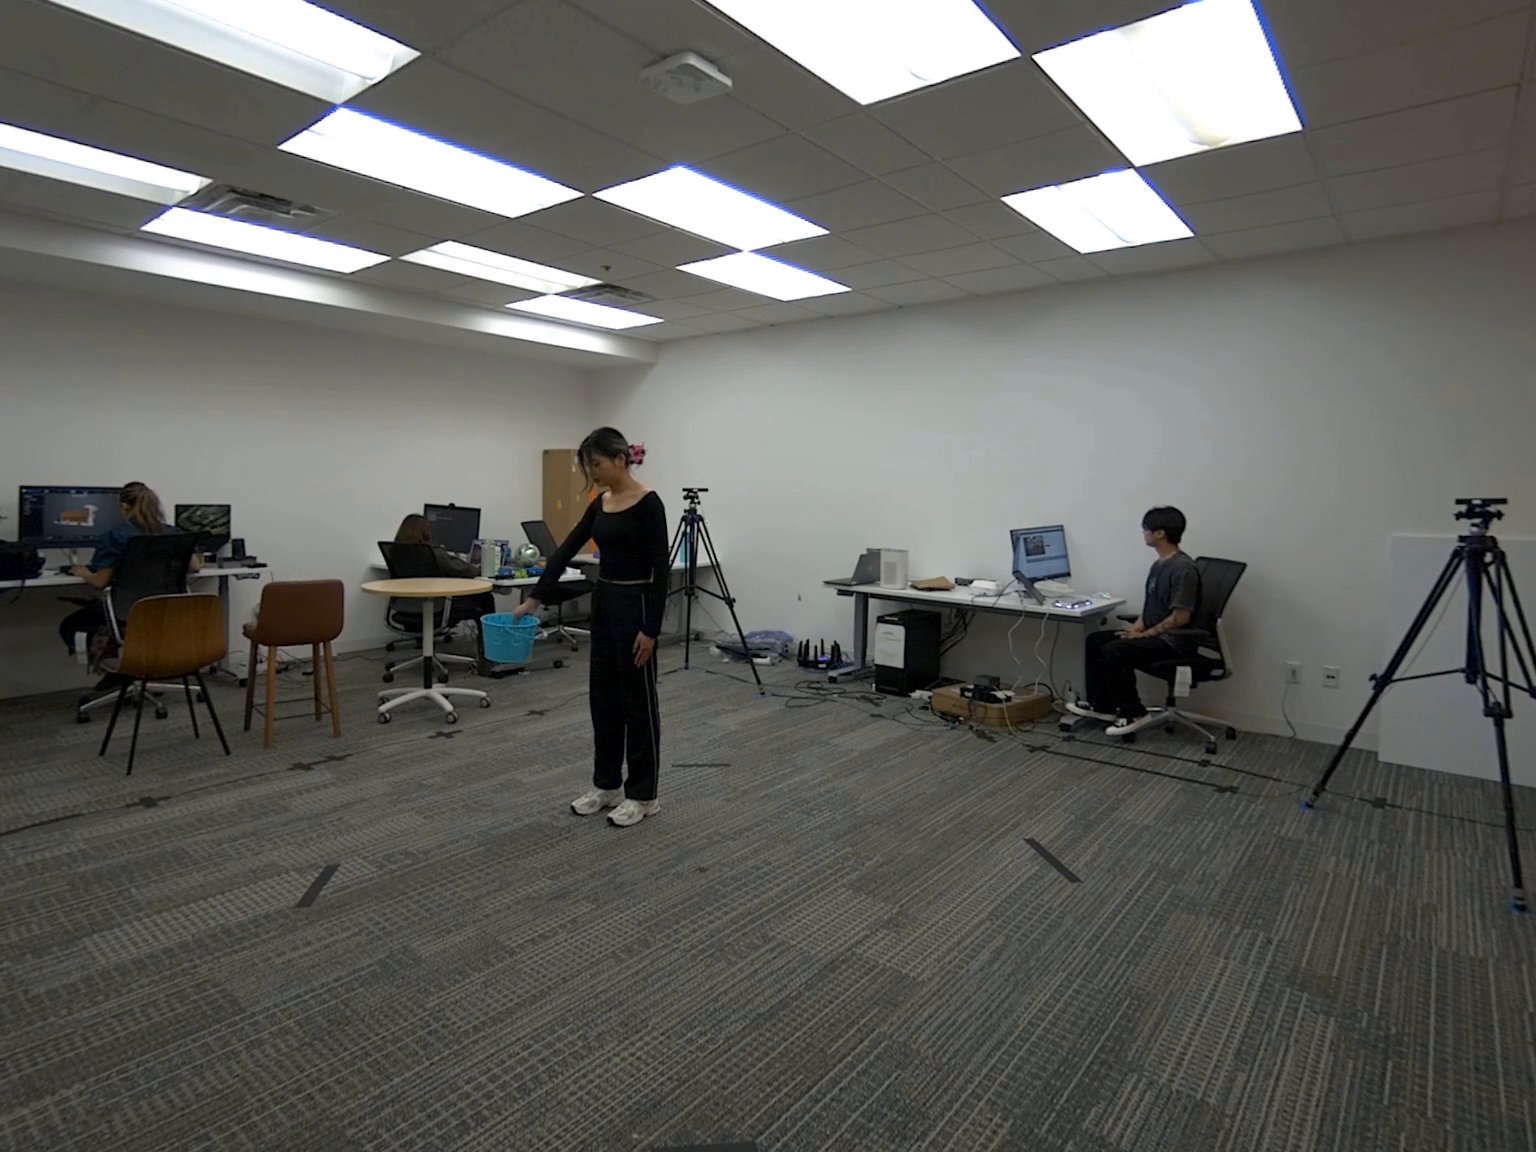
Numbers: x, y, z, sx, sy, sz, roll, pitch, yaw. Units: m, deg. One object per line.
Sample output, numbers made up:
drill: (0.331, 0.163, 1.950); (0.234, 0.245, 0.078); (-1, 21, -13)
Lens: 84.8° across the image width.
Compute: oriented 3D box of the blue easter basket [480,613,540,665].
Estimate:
blue easter basket: (-1.067, 0.254, 3.445); (0.243, 0.155, 0.246); (4, 8, -2)
